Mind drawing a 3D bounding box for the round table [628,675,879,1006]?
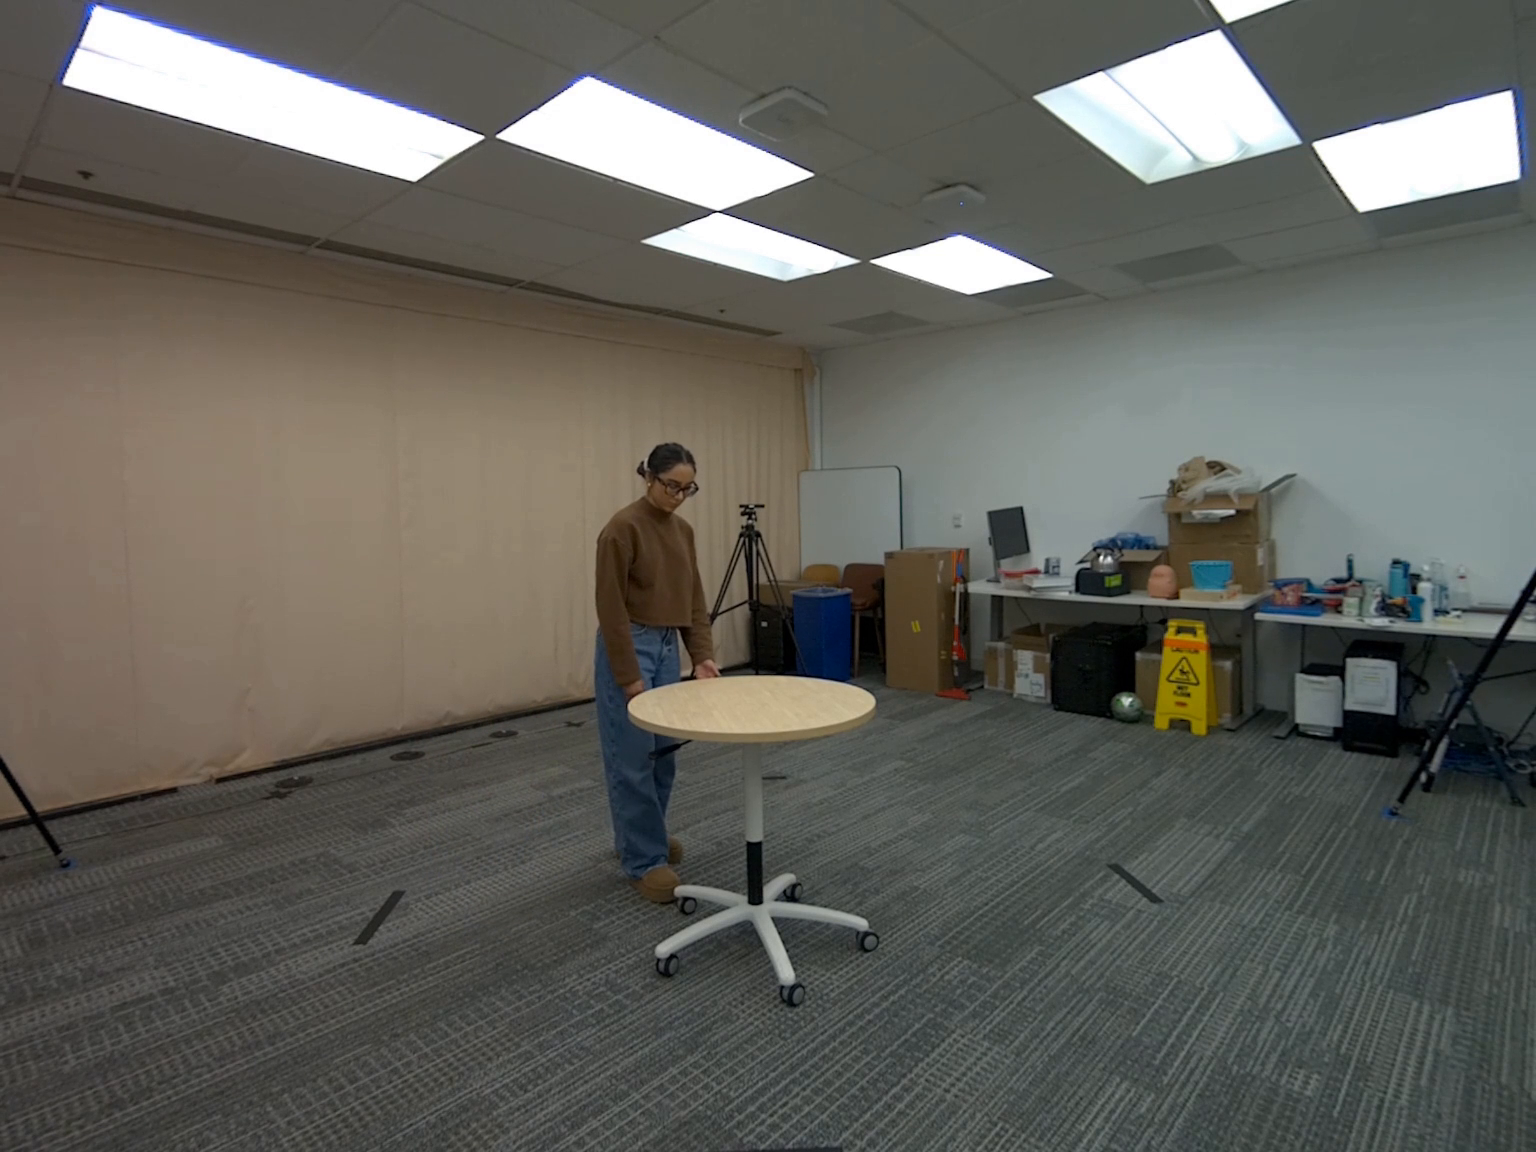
[{"bbox_3d":[-0.040,0.781,2.645,0.763,0.792,0.766,-1,4,-2],"label":"round table"}]
